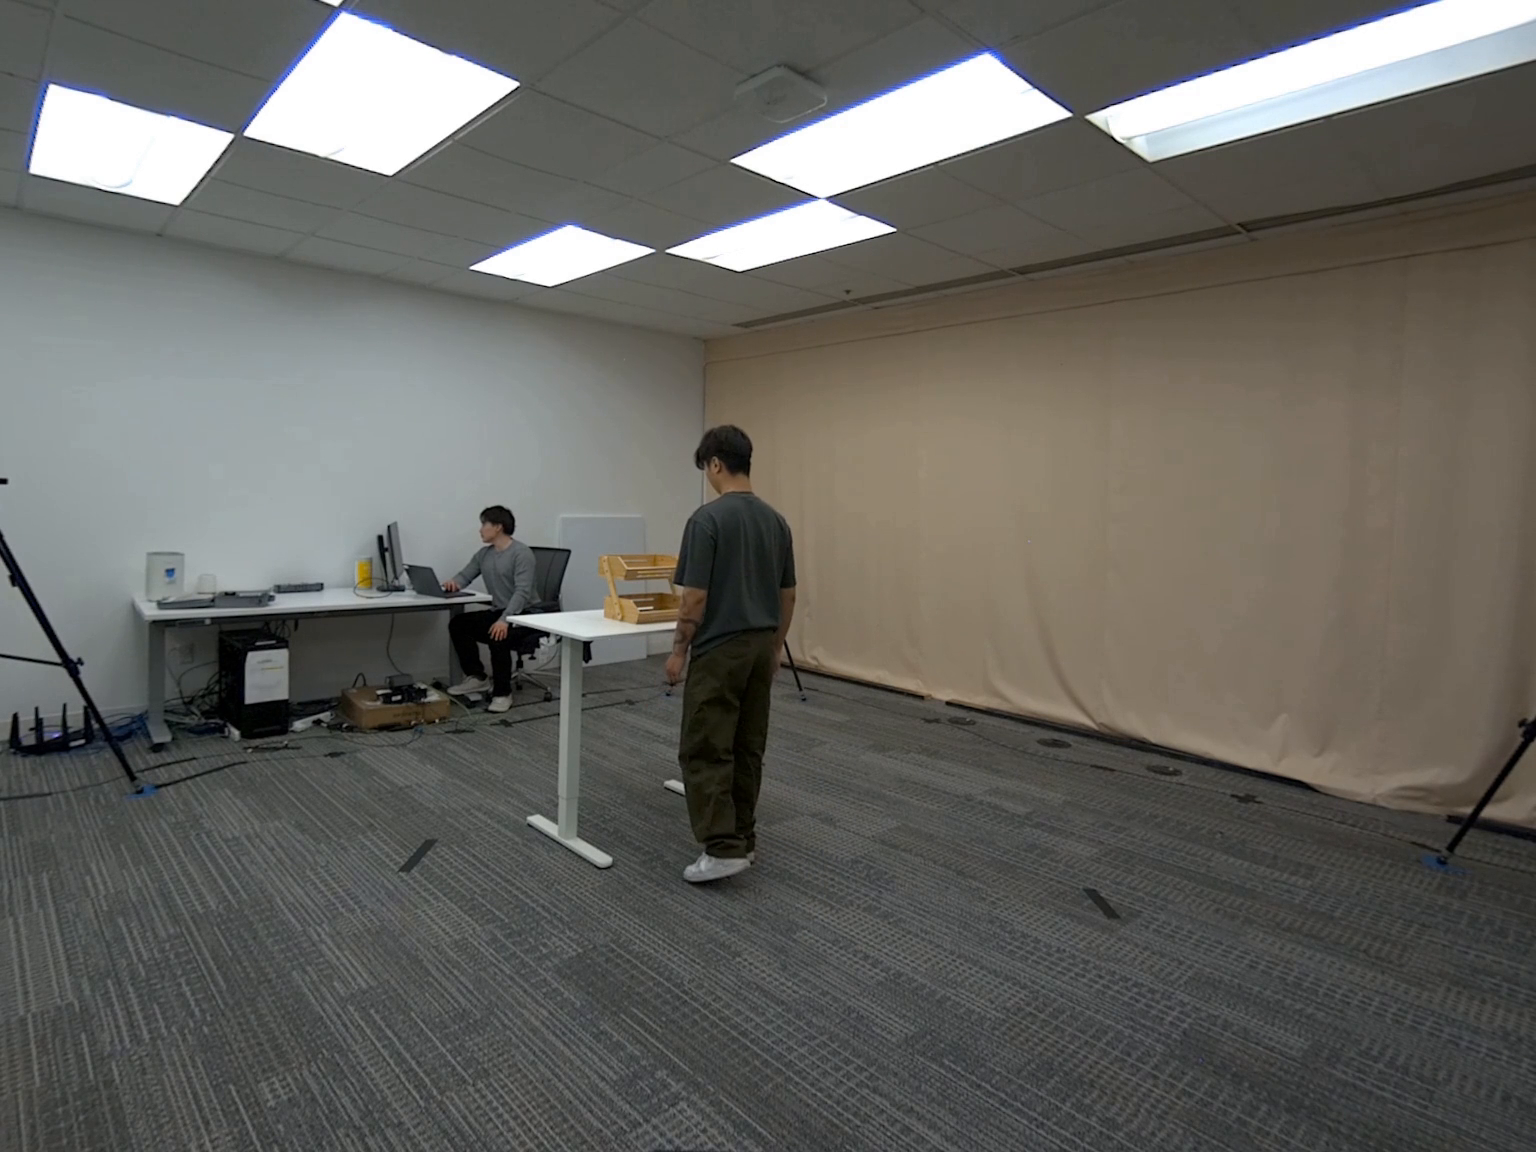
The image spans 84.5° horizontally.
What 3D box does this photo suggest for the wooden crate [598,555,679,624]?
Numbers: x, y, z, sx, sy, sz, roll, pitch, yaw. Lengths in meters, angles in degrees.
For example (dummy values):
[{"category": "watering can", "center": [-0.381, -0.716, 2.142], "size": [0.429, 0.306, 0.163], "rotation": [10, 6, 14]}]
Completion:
[{"category": "wooden crate", "center": [-0.513, 0.044, 3.543], "size": [0.317, 0.273, 0.310], "rotation": [-1, 4, -43]}]
